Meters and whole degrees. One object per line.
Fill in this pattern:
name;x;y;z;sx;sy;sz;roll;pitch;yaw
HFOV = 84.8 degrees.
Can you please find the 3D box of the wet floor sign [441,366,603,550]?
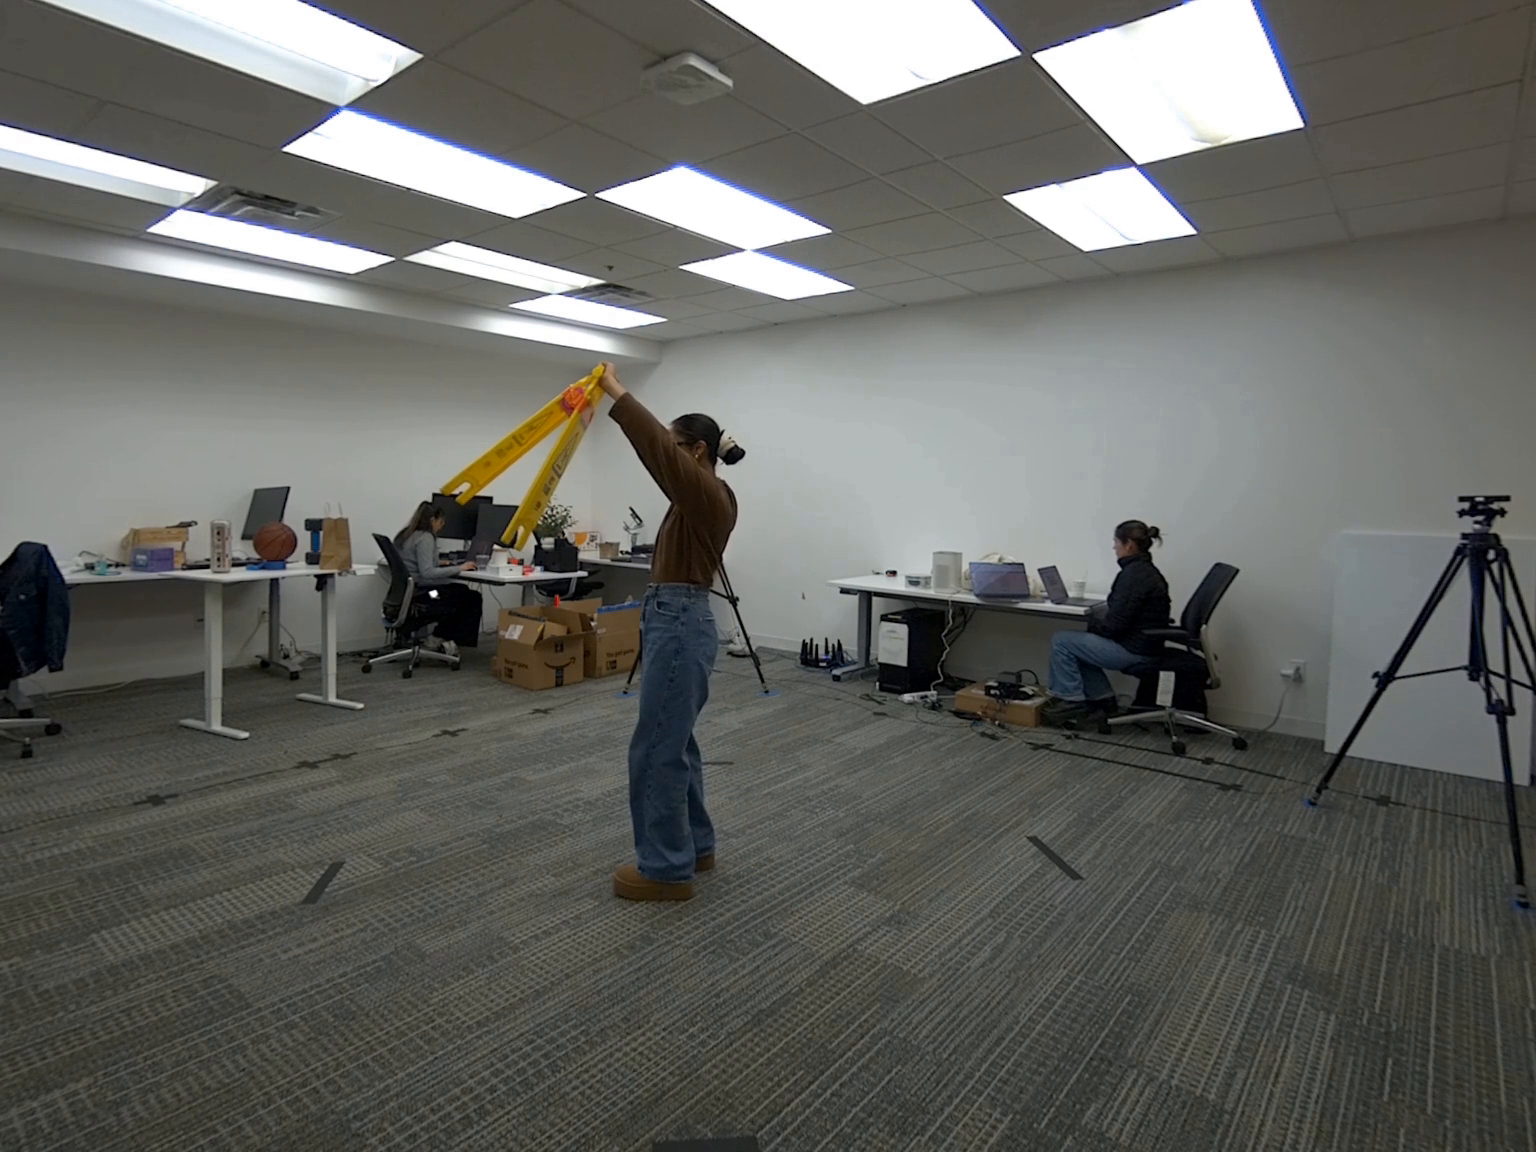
wet floor sign;-0.762;-0.431;2.845;0.290;0.646;0.282;37;-5;-1
